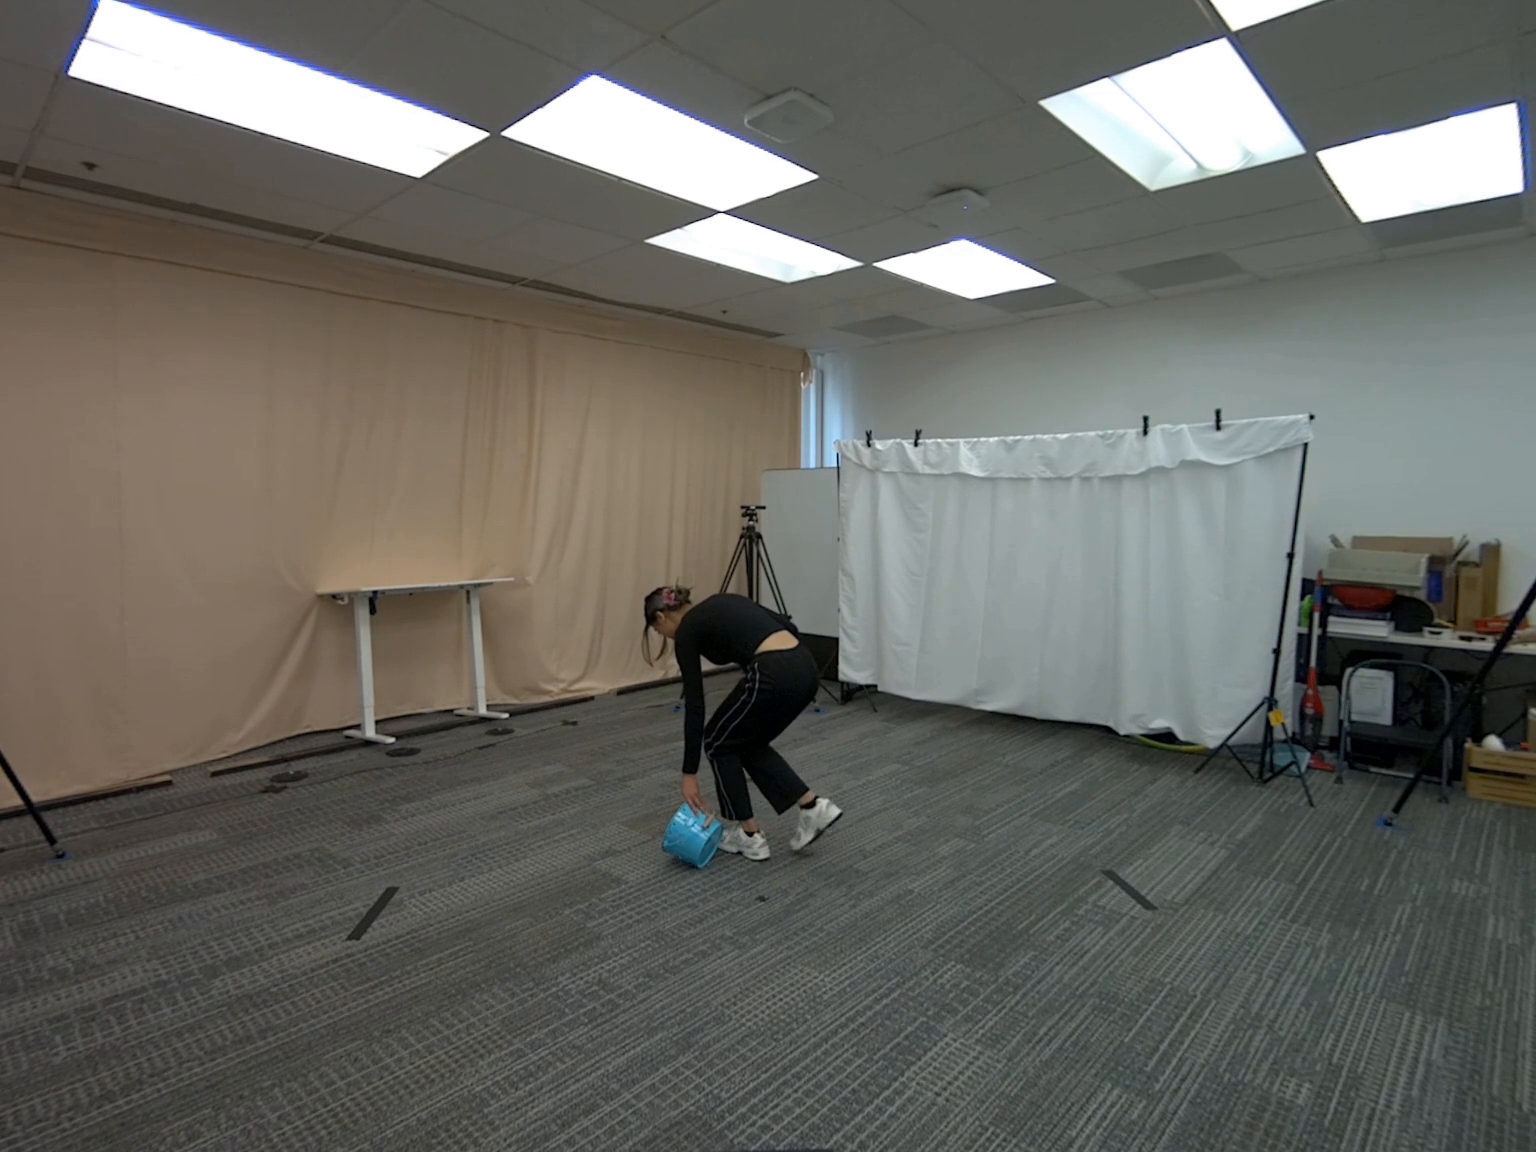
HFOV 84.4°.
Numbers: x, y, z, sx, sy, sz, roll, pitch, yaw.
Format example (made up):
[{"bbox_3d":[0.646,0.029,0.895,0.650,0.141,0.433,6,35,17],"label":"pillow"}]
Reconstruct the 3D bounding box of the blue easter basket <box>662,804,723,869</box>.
[{"bbox_3d":[-0.279,1.008,3.270,0.160,0.243,0.237,22,13,24],"label":"blue easter basket"}]
